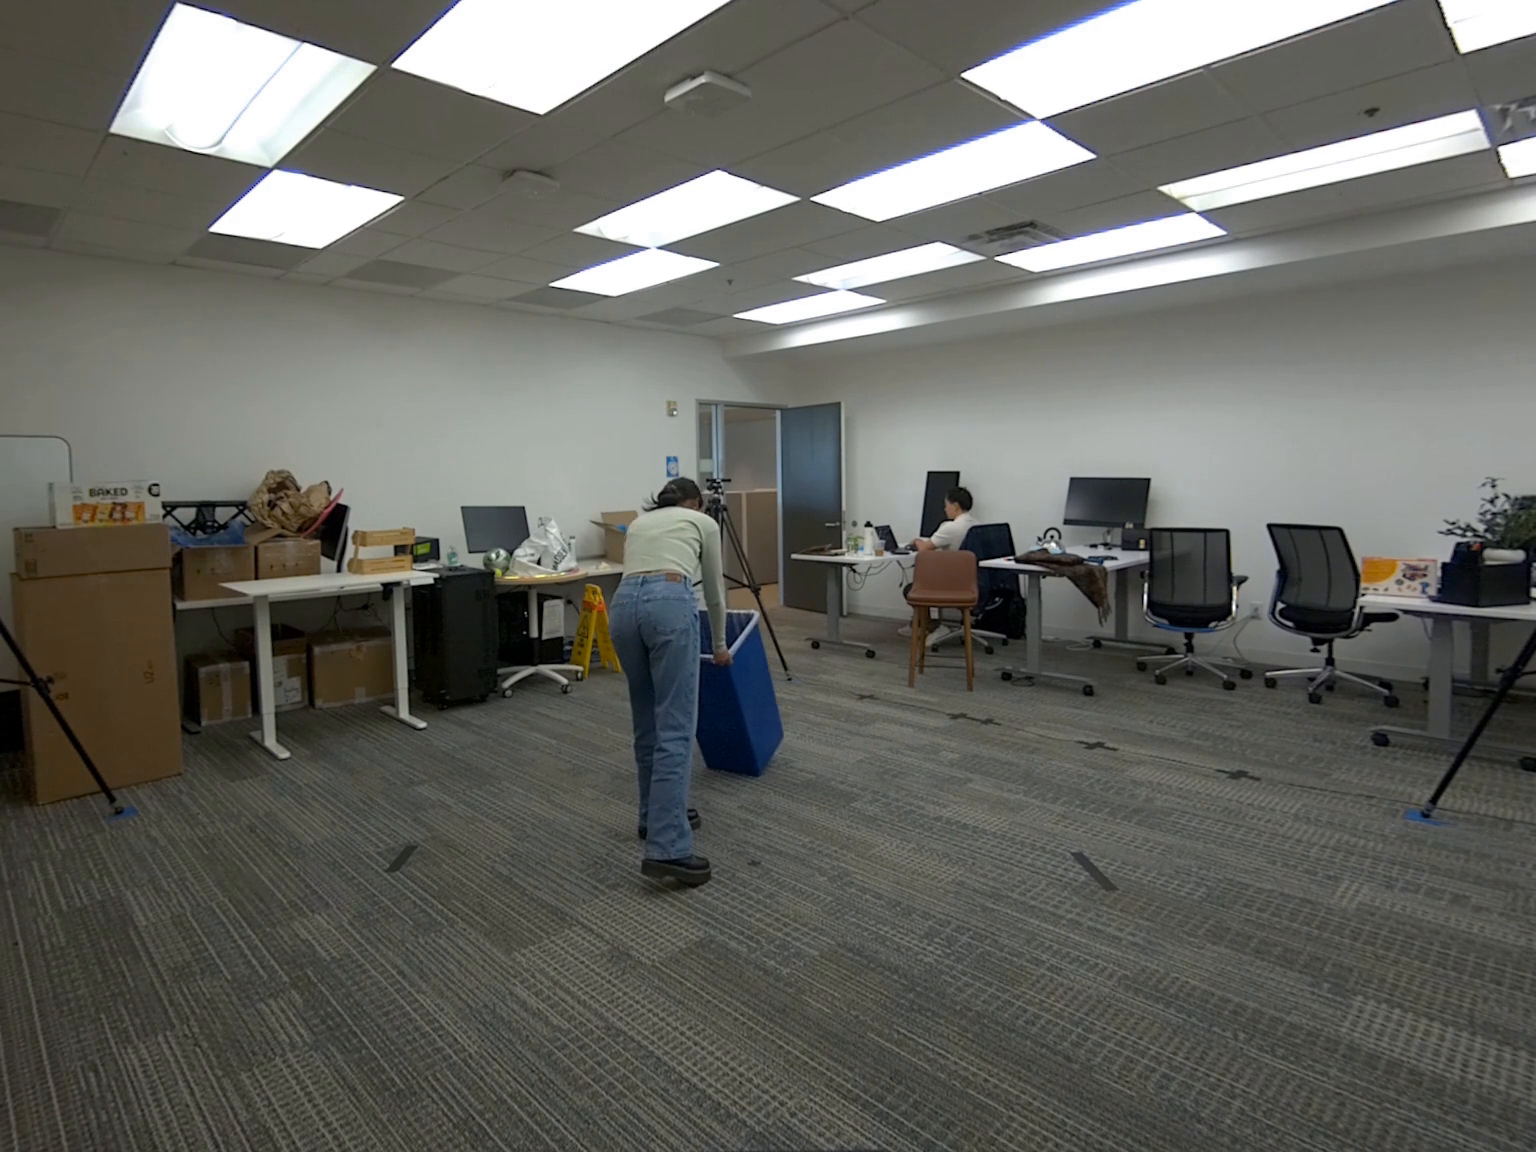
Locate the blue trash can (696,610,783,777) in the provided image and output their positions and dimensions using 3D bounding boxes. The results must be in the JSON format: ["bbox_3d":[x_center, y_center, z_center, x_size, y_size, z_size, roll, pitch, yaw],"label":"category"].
[{"bbox_3d":[-0.191,0.560,4.026,0.387,0.695,0.374,1,29,29],"label":"blue trash can"}]
